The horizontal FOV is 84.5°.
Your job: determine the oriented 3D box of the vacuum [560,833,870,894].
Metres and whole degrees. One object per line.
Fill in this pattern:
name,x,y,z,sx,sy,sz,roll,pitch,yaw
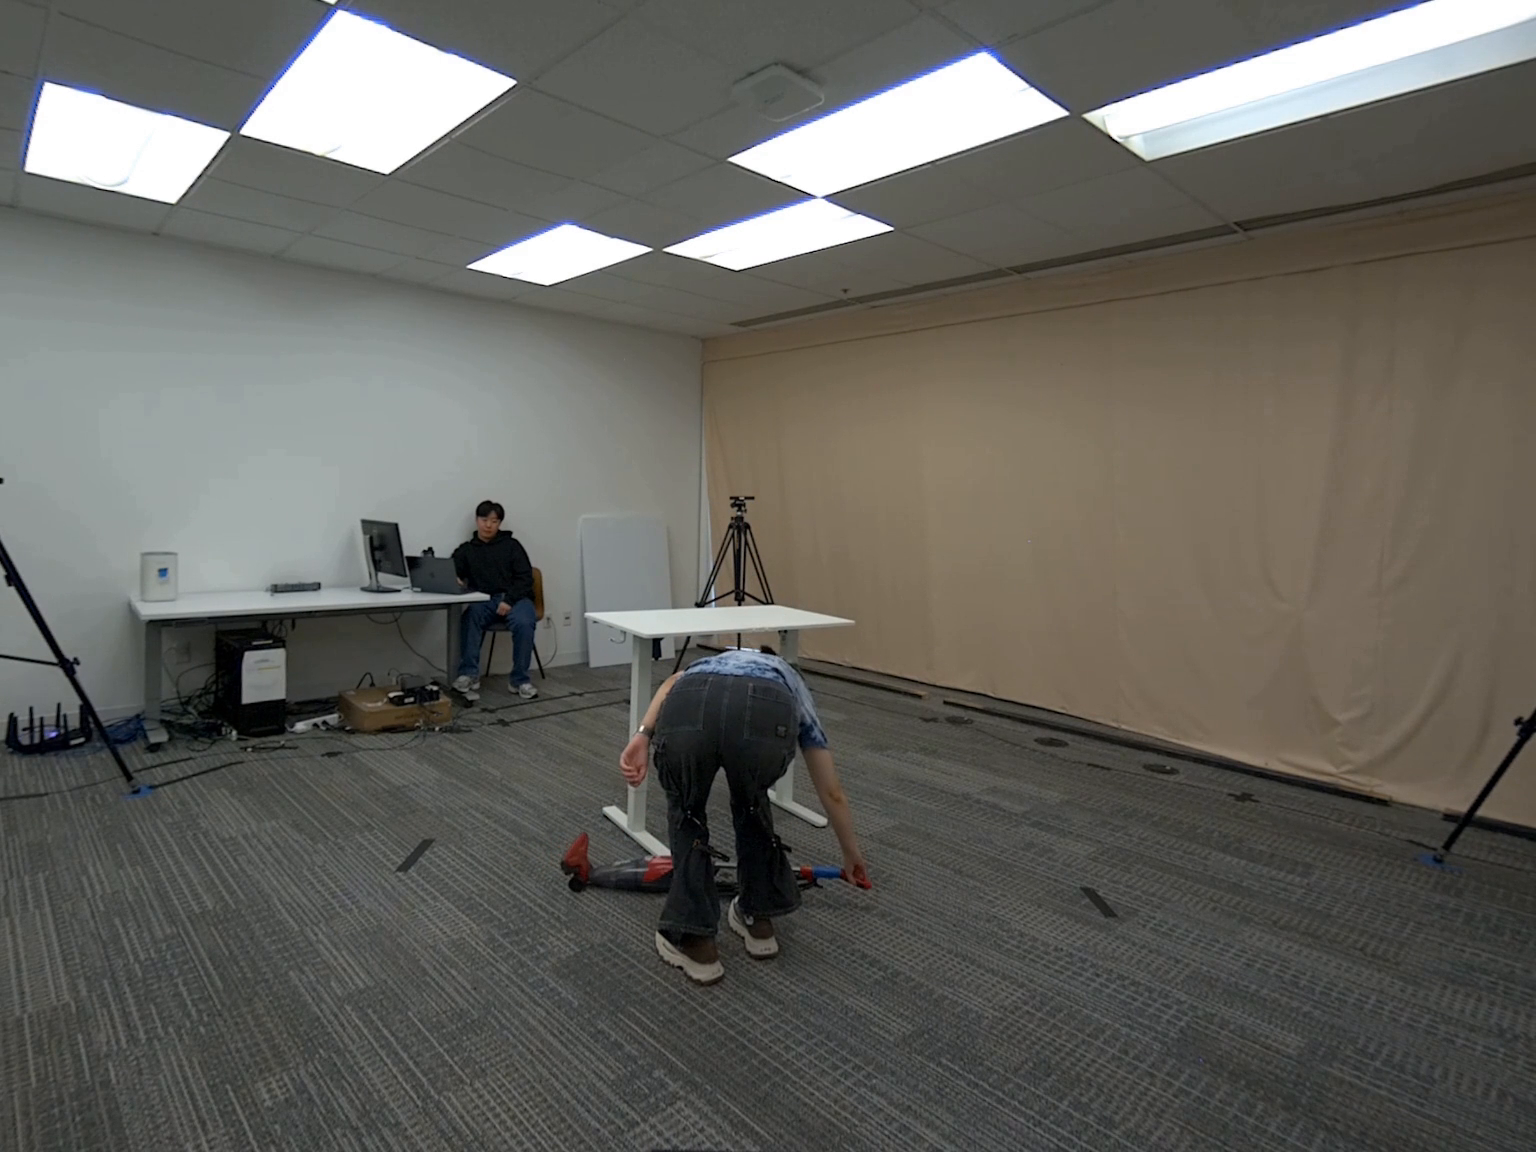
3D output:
vacuum,-0.184,1.056,2.948,1.054,0.143,0.252,3,5,6
